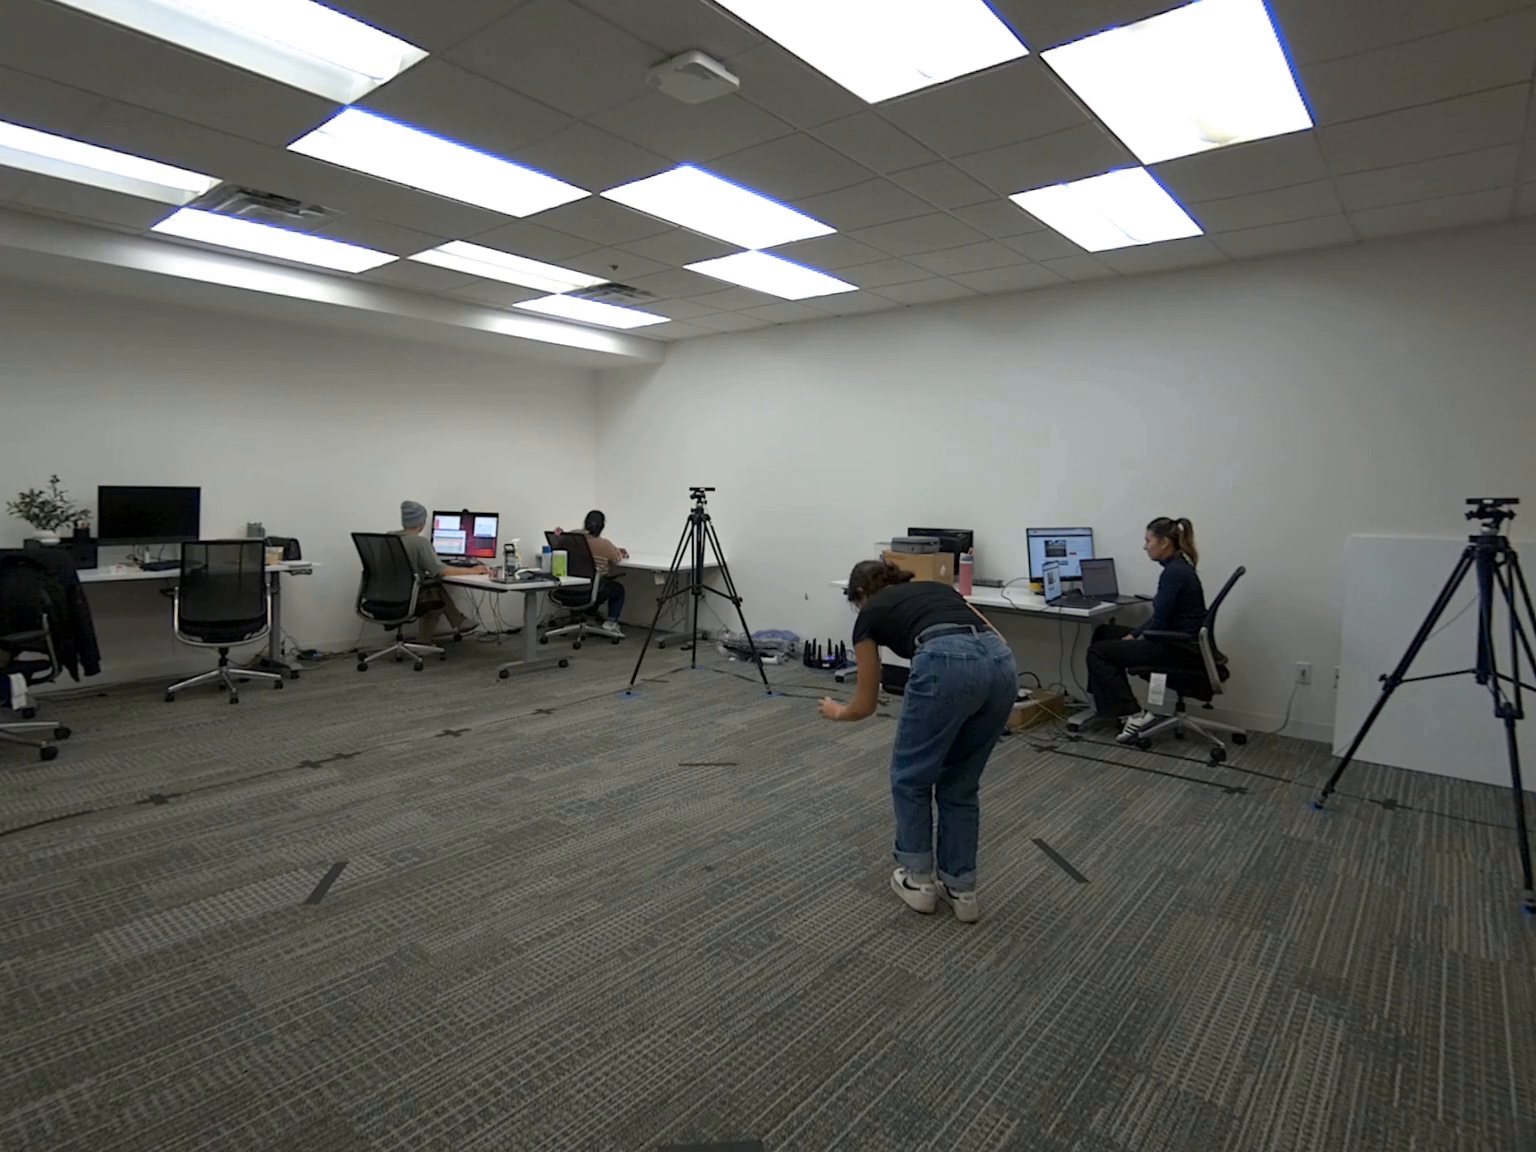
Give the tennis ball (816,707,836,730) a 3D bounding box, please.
[{"bbox_3d":[0.228,0.559,3.317,0.066,0.066,0.067,1,4,-2],"label":"tennis ball"}]
